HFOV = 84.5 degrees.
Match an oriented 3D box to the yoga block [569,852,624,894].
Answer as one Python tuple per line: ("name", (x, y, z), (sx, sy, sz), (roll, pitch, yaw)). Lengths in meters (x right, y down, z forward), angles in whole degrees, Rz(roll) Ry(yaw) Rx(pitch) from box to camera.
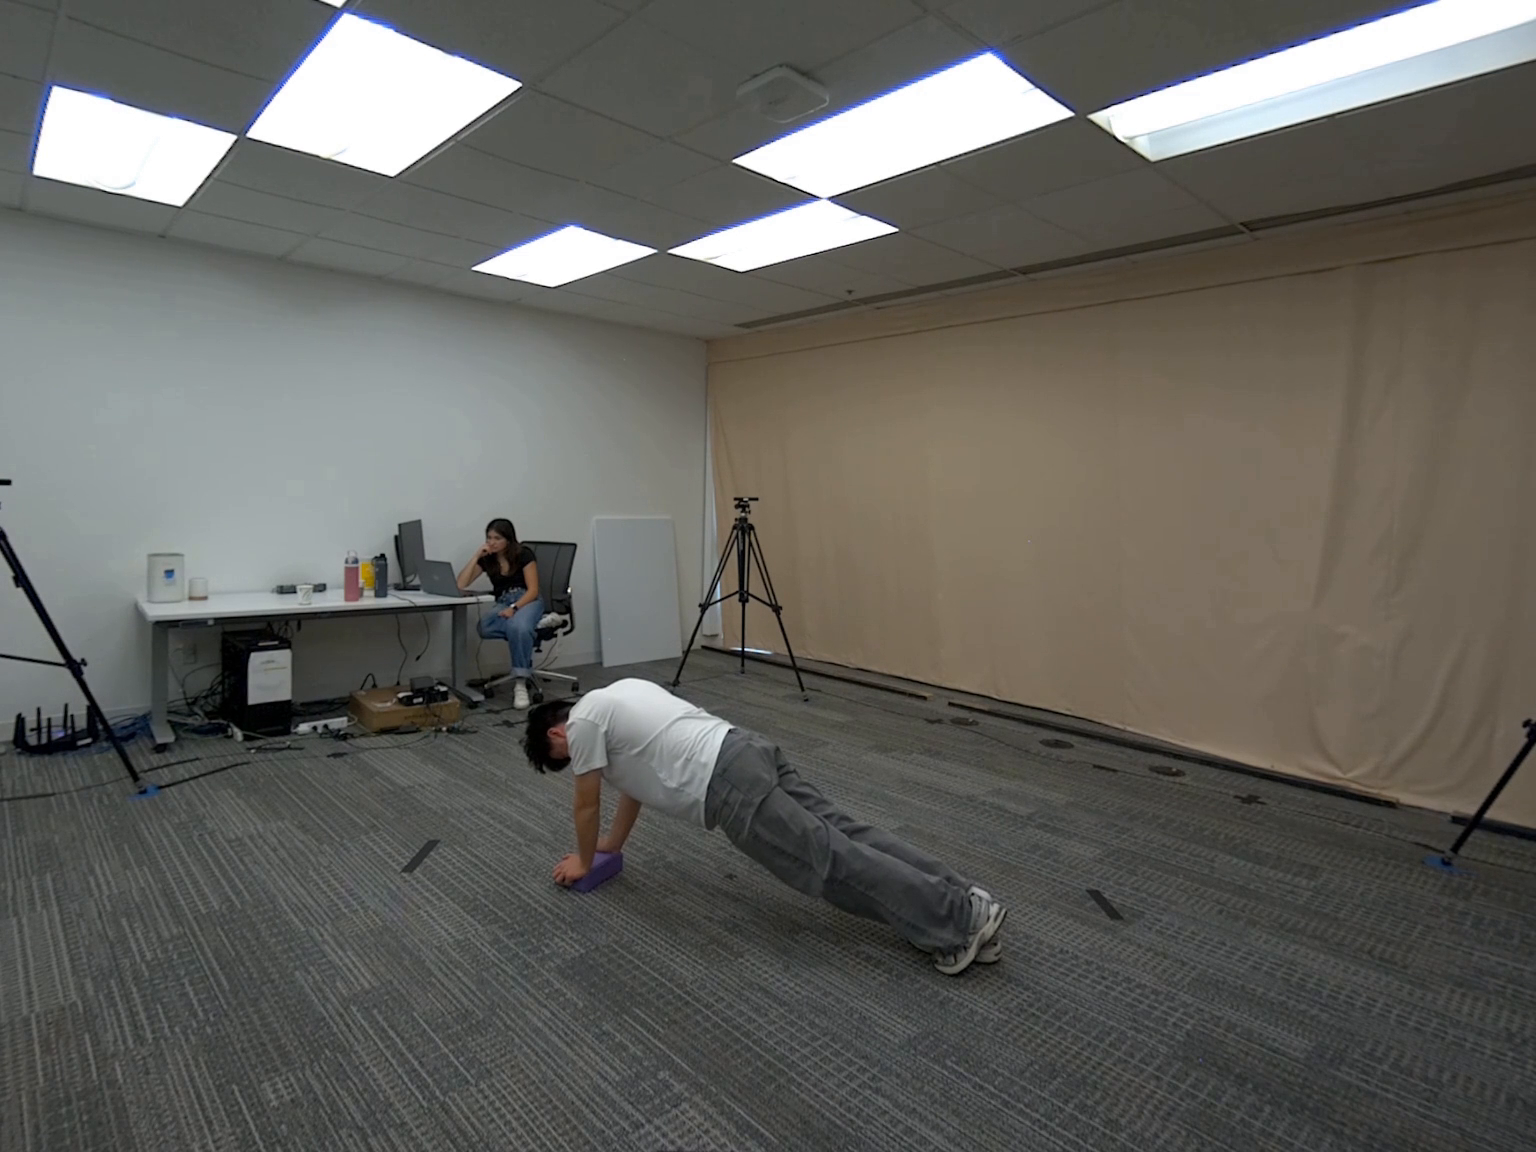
("yoga block", (-0.660, 1.066, 3.065), (0.152, 0.076, 0.225), (4, 6, 26))
